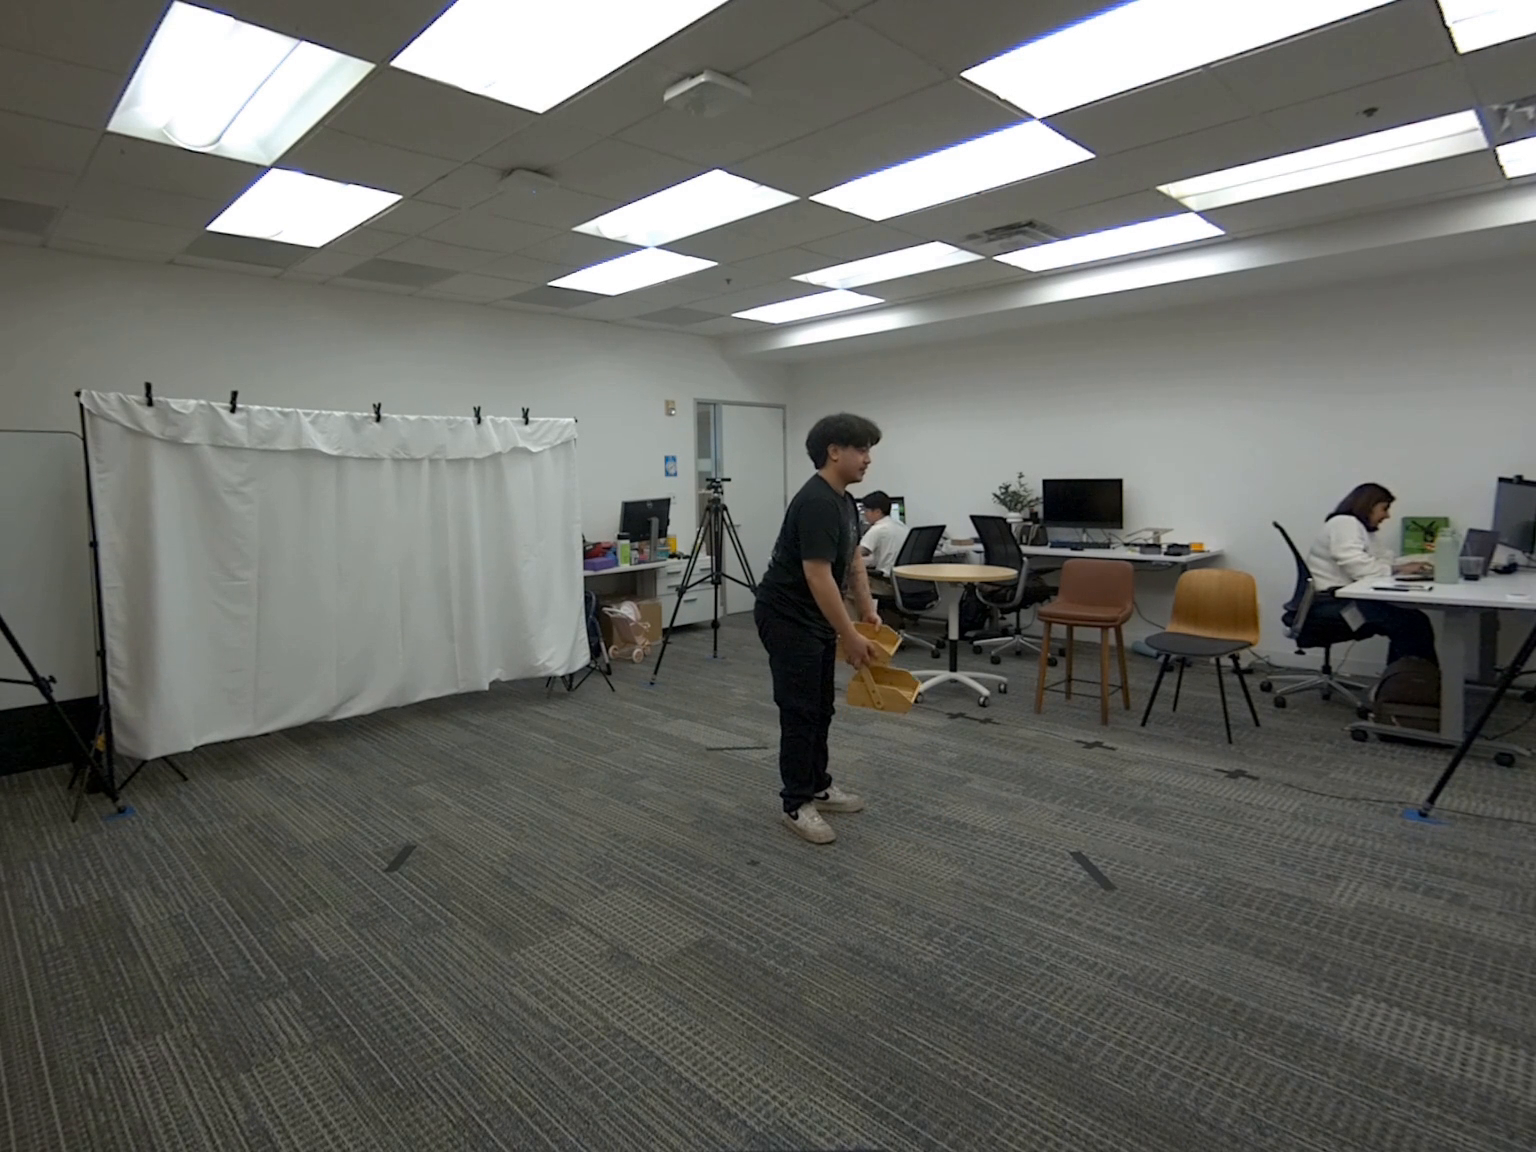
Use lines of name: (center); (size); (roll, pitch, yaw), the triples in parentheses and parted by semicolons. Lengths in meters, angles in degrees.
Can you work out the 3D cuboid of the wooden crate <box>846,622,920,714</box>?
wooden crate: (0.441, 0.346, 3.357); (0.307, 0.272, 0.320); (5, 8, 17)
